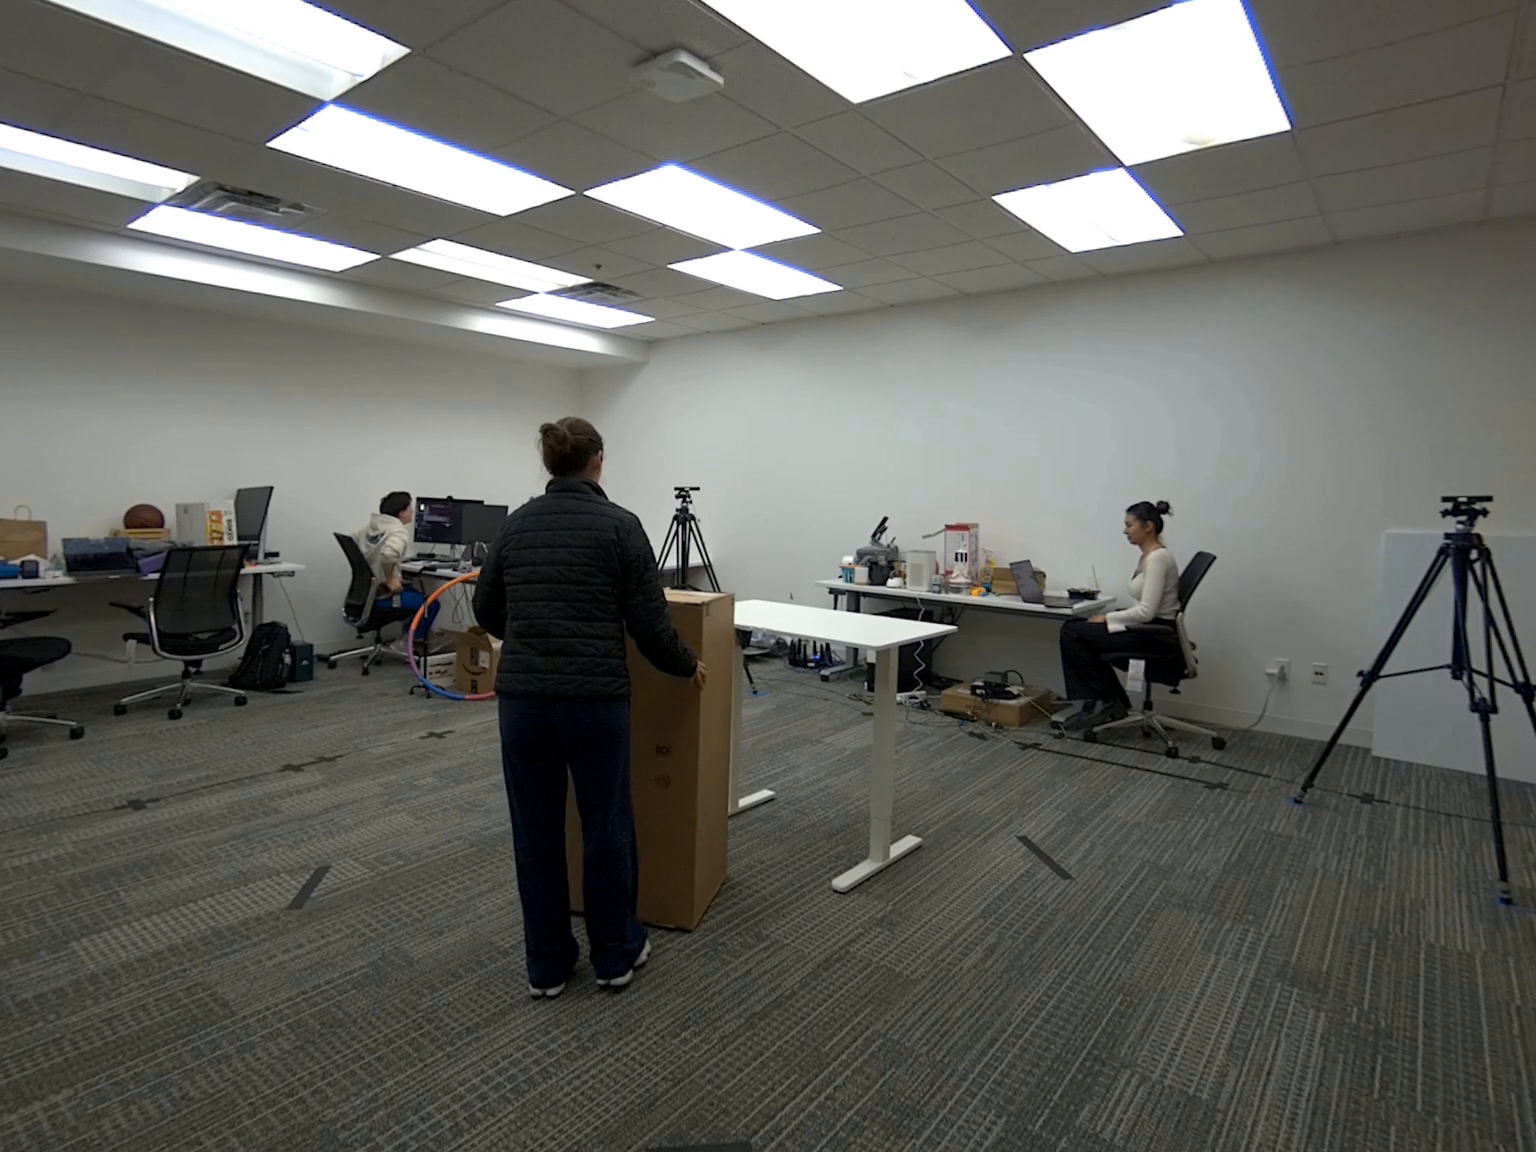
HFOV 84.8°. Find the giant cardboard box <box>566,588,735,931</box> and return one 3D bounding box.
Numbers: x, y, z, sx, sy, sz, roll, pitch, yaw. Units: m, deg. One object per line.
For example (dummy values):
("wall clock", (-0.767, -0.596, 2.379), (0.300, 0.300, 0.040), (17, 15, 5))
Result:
("giant cardboard box", (-0.435, 0.563, 2.926), (0.587, 1.025, 0.420), (2, 1, 14))
